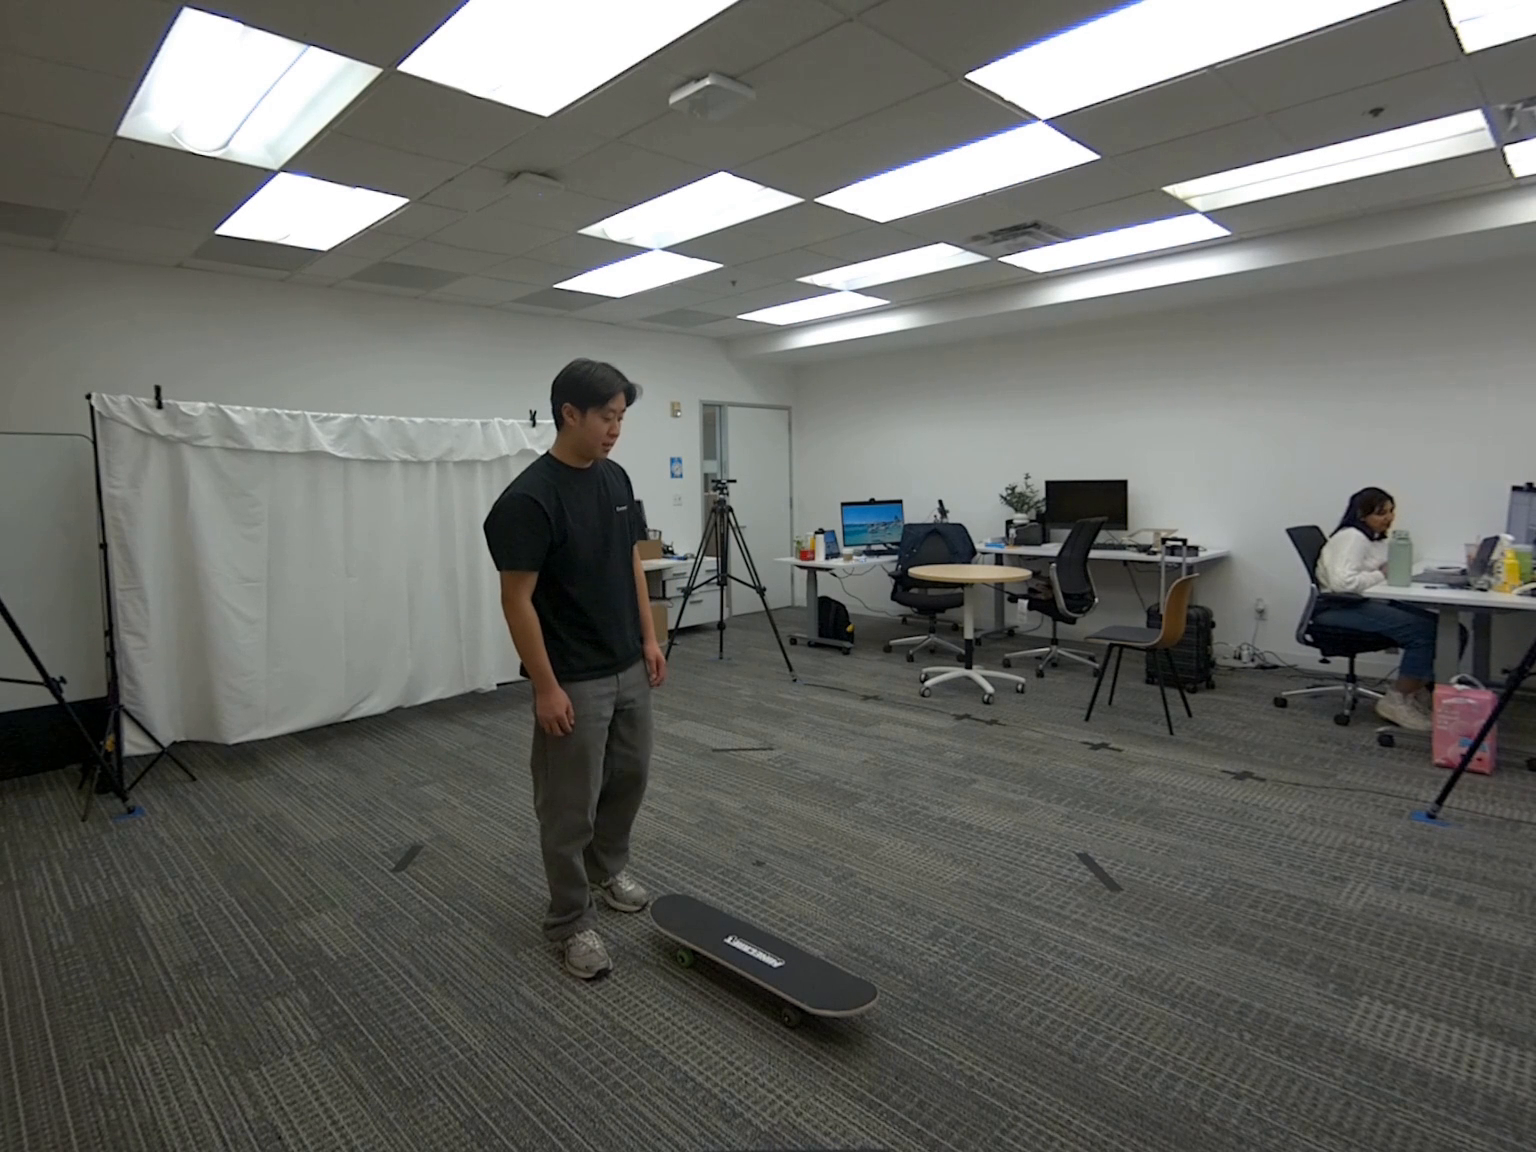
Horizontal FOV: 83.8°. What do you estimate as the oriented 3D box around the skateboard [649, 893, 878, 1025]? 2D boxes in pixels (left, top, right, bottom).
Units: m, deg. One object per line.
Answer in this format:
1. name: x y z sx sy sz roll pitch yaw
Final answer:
1. skateboard: -0.032 1.079 2.377 0.810 0.110 0.188 5 9 43
